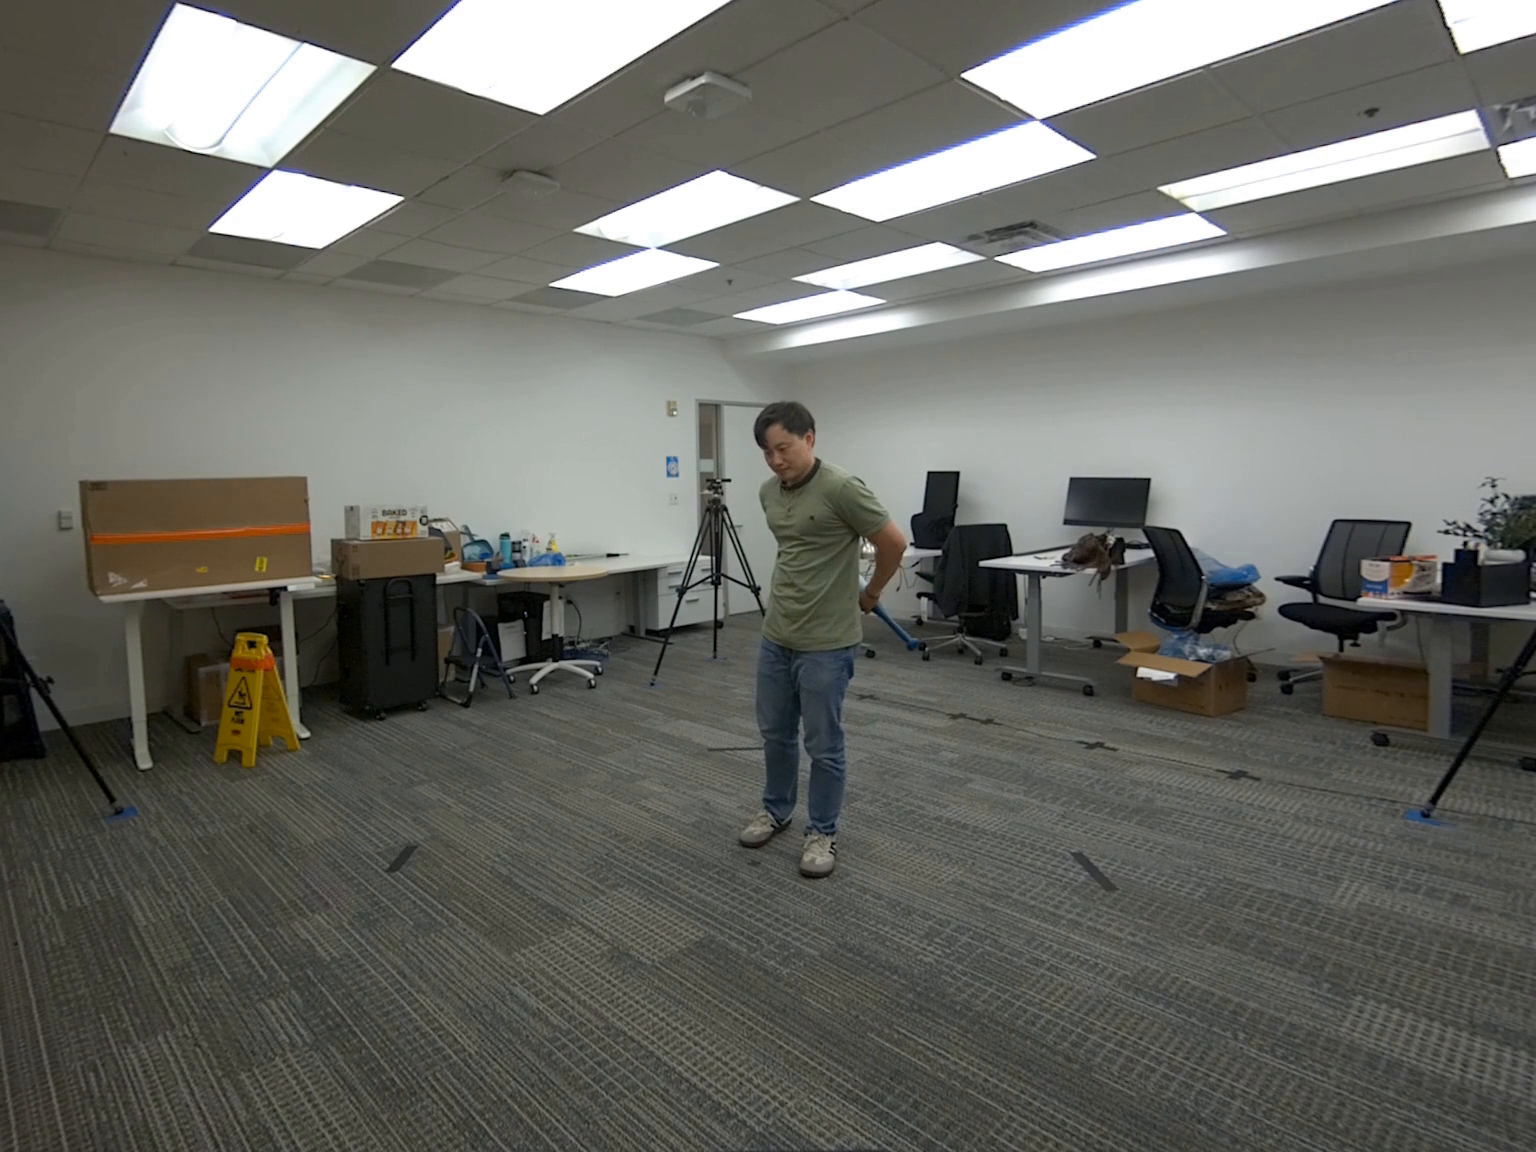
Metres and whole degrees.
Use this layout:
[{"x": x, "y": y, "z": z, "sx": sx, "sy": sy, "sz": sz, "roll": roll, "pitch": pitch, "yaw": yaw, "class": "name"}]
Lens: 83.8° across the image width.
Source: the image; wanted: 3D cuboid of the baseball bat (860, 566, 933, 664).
[{"x": 0.386, "y": 0.099, "z": 3.175, "sx": 0.087, "sy": 0.088, "sz": 0.565, "roll": -4, "pitch": 38, "yaw": -34, "class": "baseball bat"}]
